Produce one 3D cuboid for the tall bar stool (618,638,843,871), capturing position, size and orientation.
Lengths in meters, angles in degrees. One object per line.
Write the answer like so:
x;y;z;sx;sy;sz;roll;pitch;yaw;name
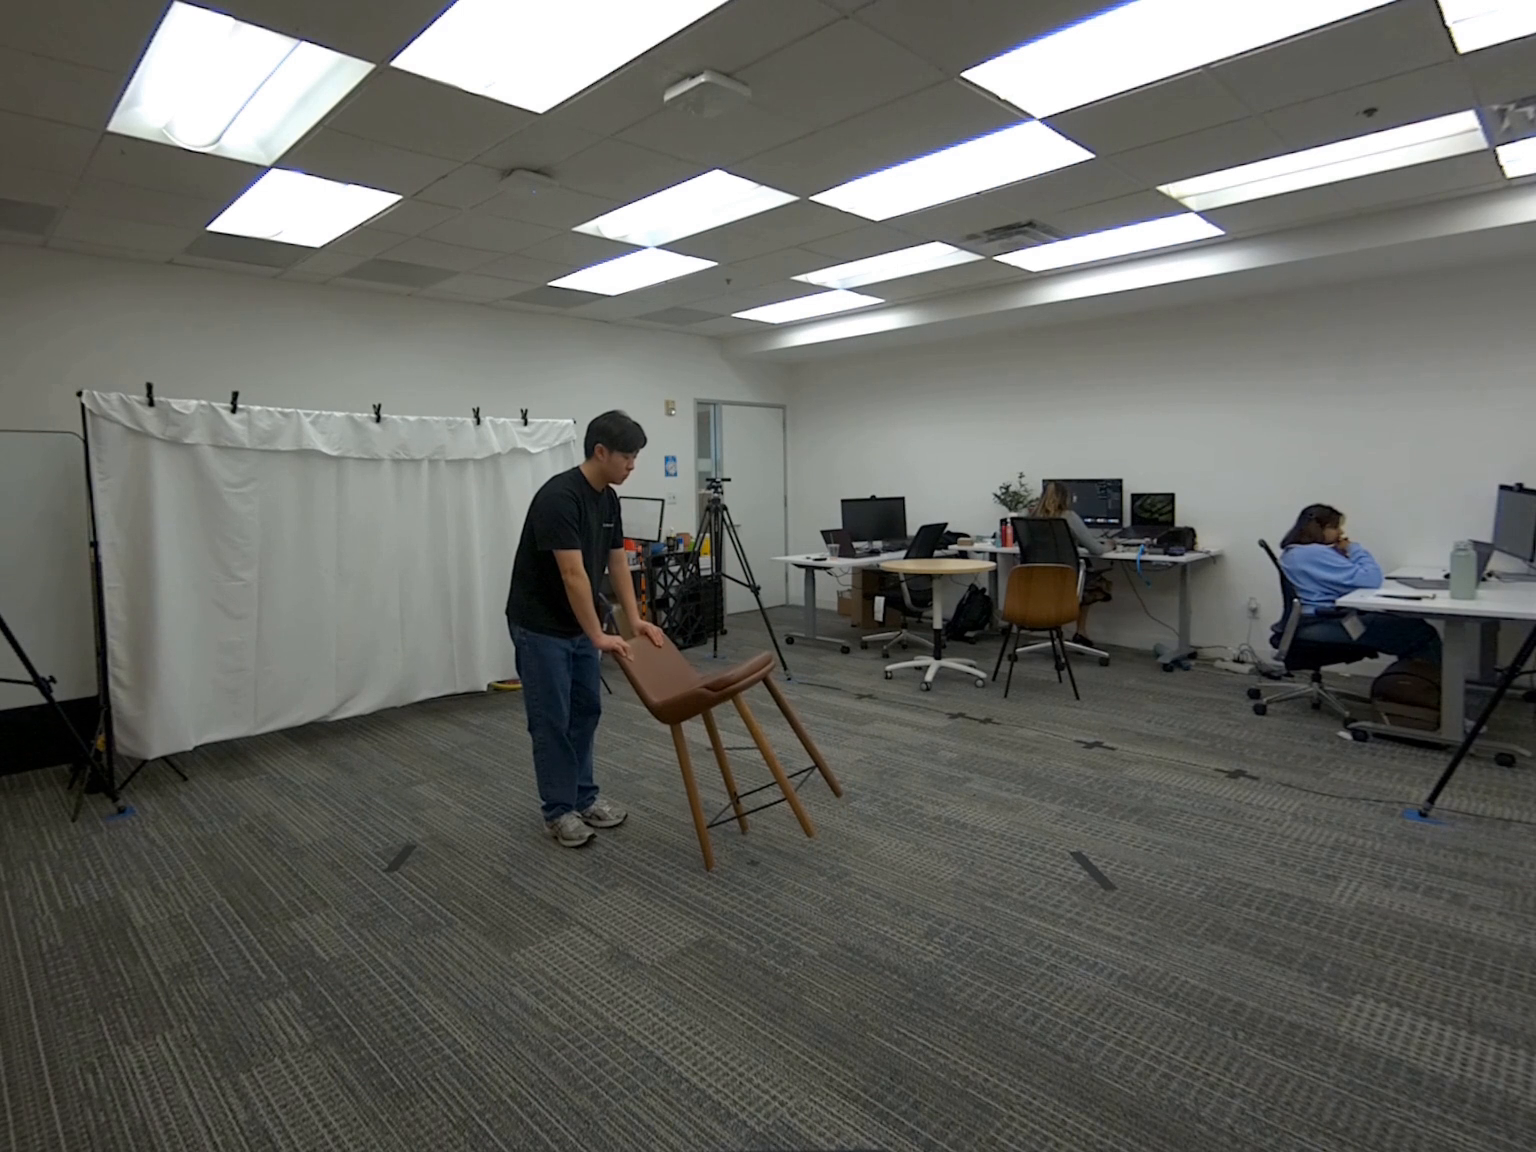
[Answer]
-0.153;0.552;3.187;0.471;0.898;0.449;-29;-7;22;tall bar stool
